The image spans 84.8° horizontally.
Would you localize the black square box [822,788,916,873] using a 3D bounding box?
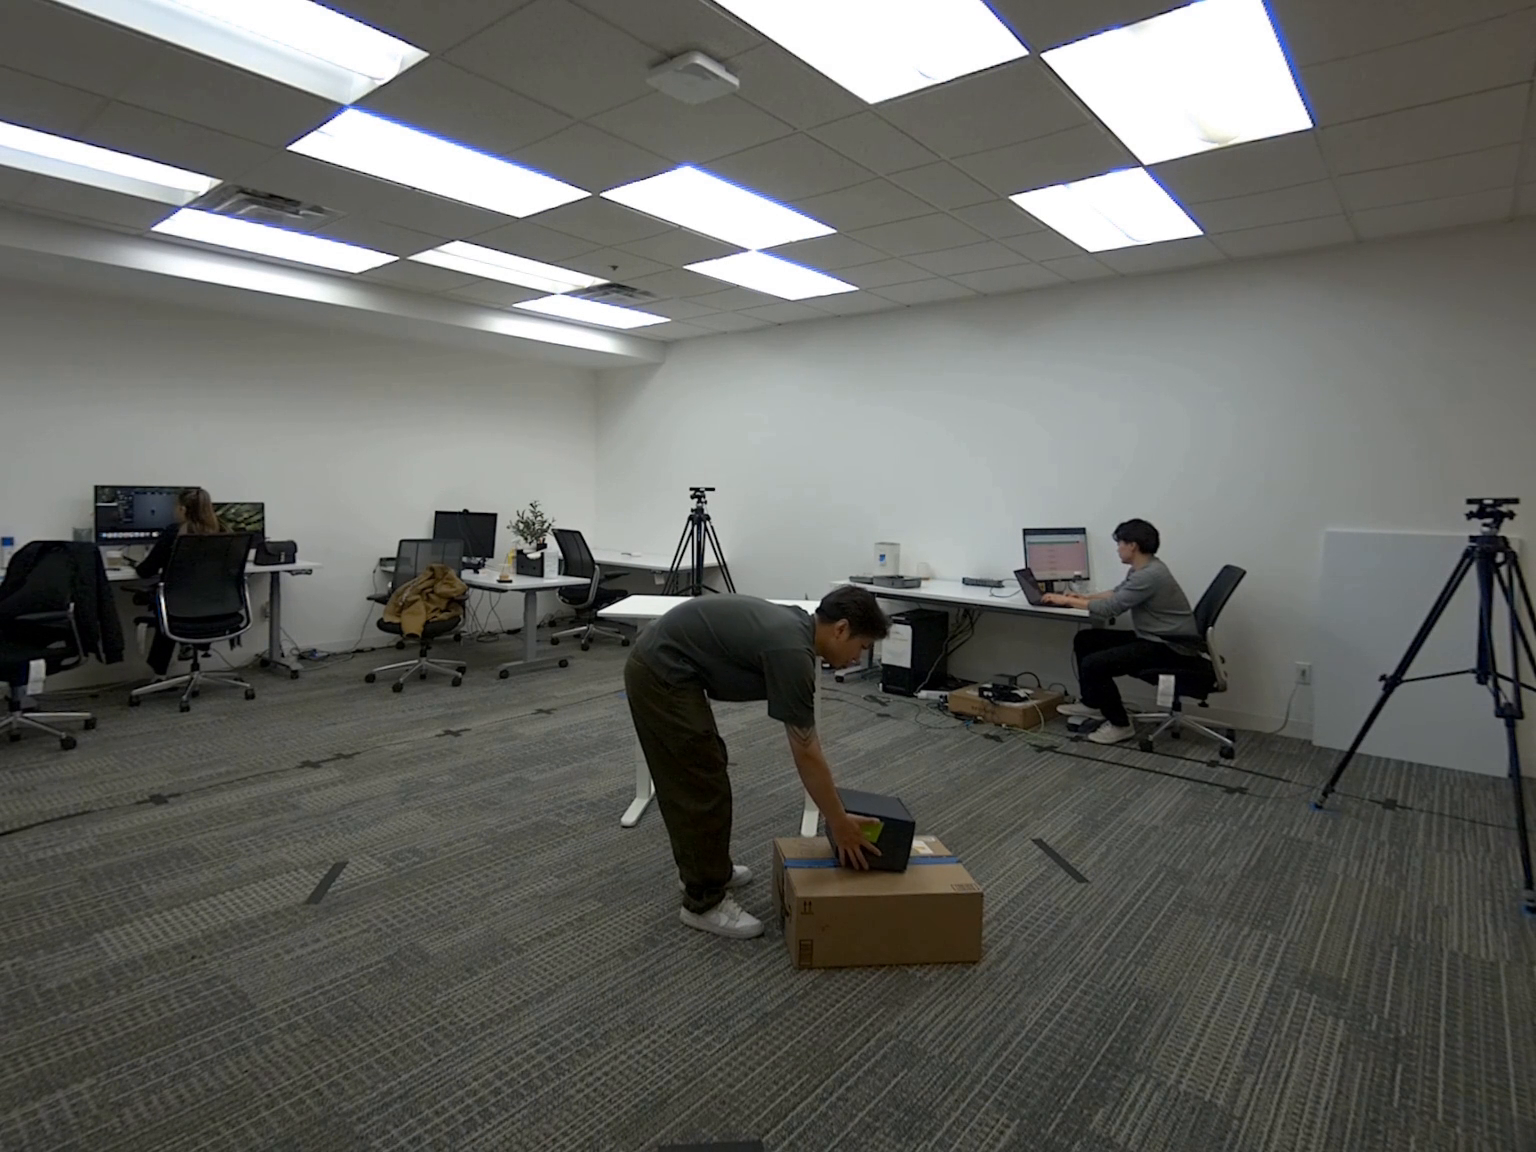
[{"bbox_3d":[0.318,0.793,2.711,0.227,0.155,0.218,7,4,-4],"label":"black square box"}]
